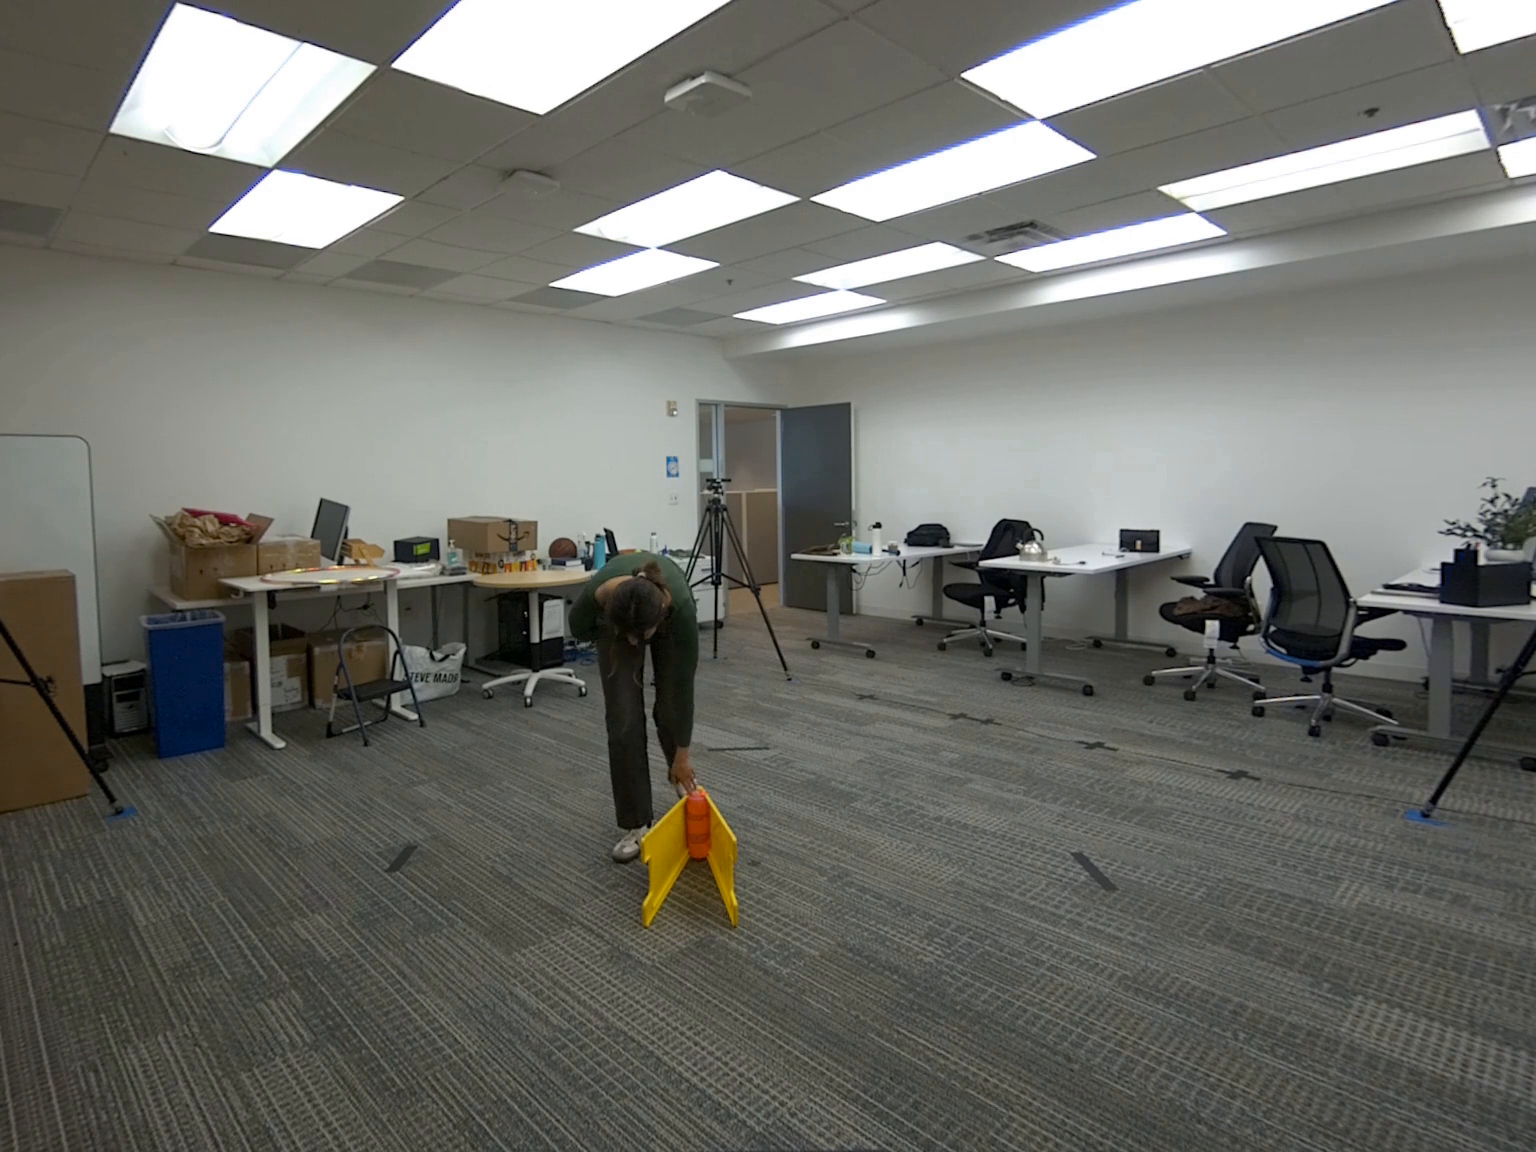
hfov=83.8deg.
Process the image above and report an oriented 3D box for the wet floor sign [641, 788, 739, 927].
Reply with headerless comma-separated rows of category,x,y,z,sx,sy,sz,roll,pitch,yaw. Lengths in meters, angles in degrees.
wet floor sign,-0.254,0.929,2.983,0.289,0.282,0.648,-1,3,-2
